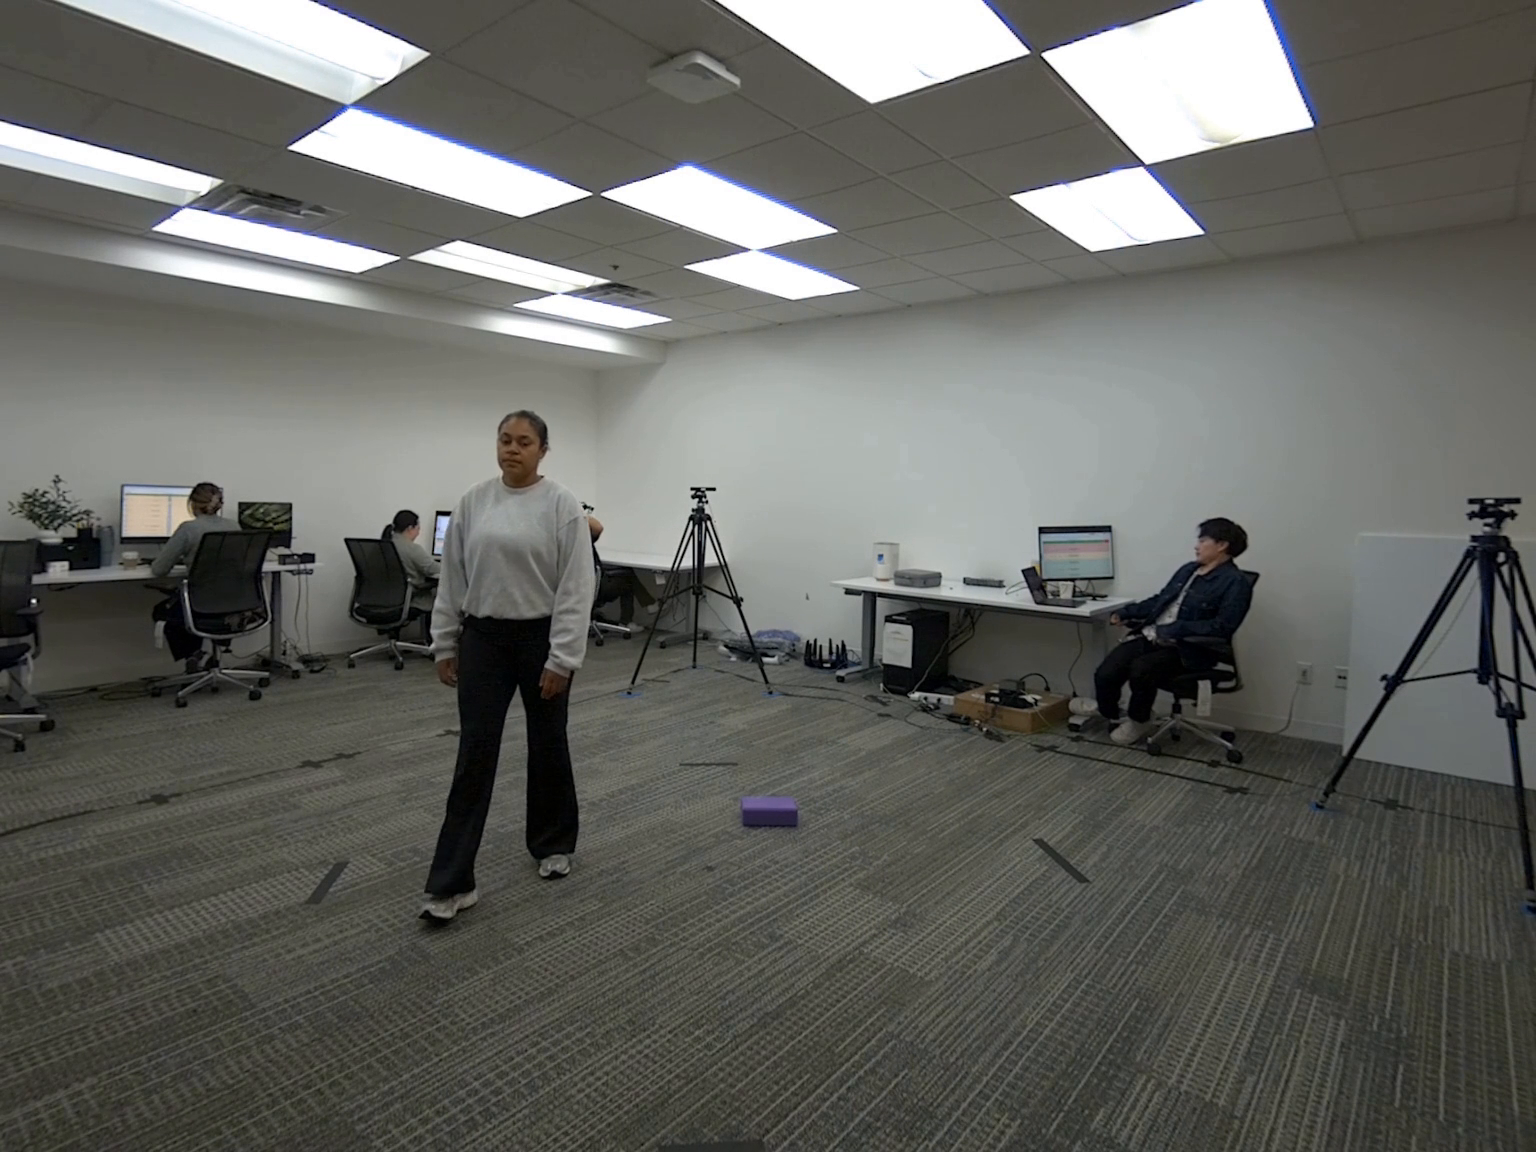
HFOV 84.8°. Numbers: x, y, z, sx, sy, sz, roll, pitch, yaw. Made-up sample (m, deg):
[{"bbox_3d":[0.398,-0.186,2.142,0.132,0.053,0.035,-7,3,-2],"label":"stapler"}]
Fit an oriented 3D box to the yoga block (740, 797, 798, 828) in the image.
[{"bbox_3d":[-0.005,0.984,3.576,0.229,0.076,0.150,1,6,-2],"label":"yoga block"}]
